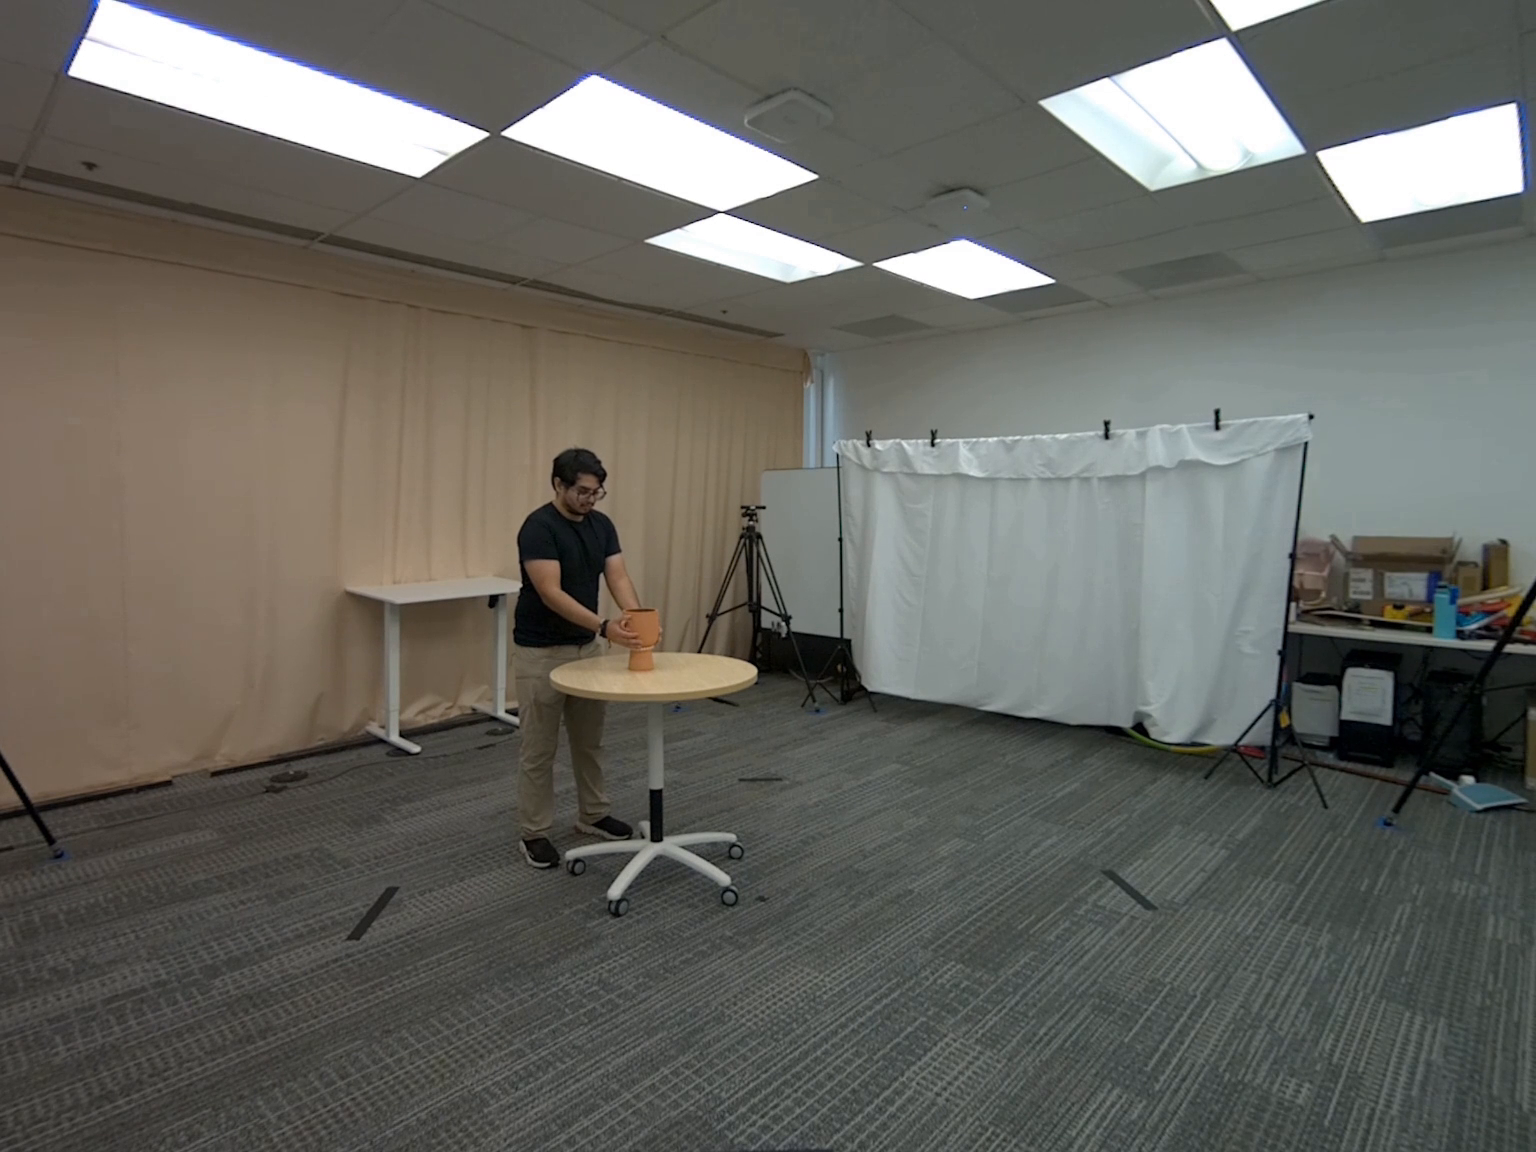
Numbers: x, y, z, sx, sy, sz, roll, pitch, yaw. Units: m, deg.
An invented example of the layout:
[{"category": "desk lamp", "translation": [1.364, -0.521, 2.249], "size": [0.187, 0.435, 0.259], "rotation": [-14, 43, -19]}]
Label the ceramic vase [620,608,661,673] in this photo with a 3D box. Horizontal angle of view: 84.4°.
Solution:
[{"category": "ceramic vase", "translation": [-0.480, 0.242, 3.160], "size": [0.156, 0.219, 0.137], "rotation": [-2, 1, -14]}]
